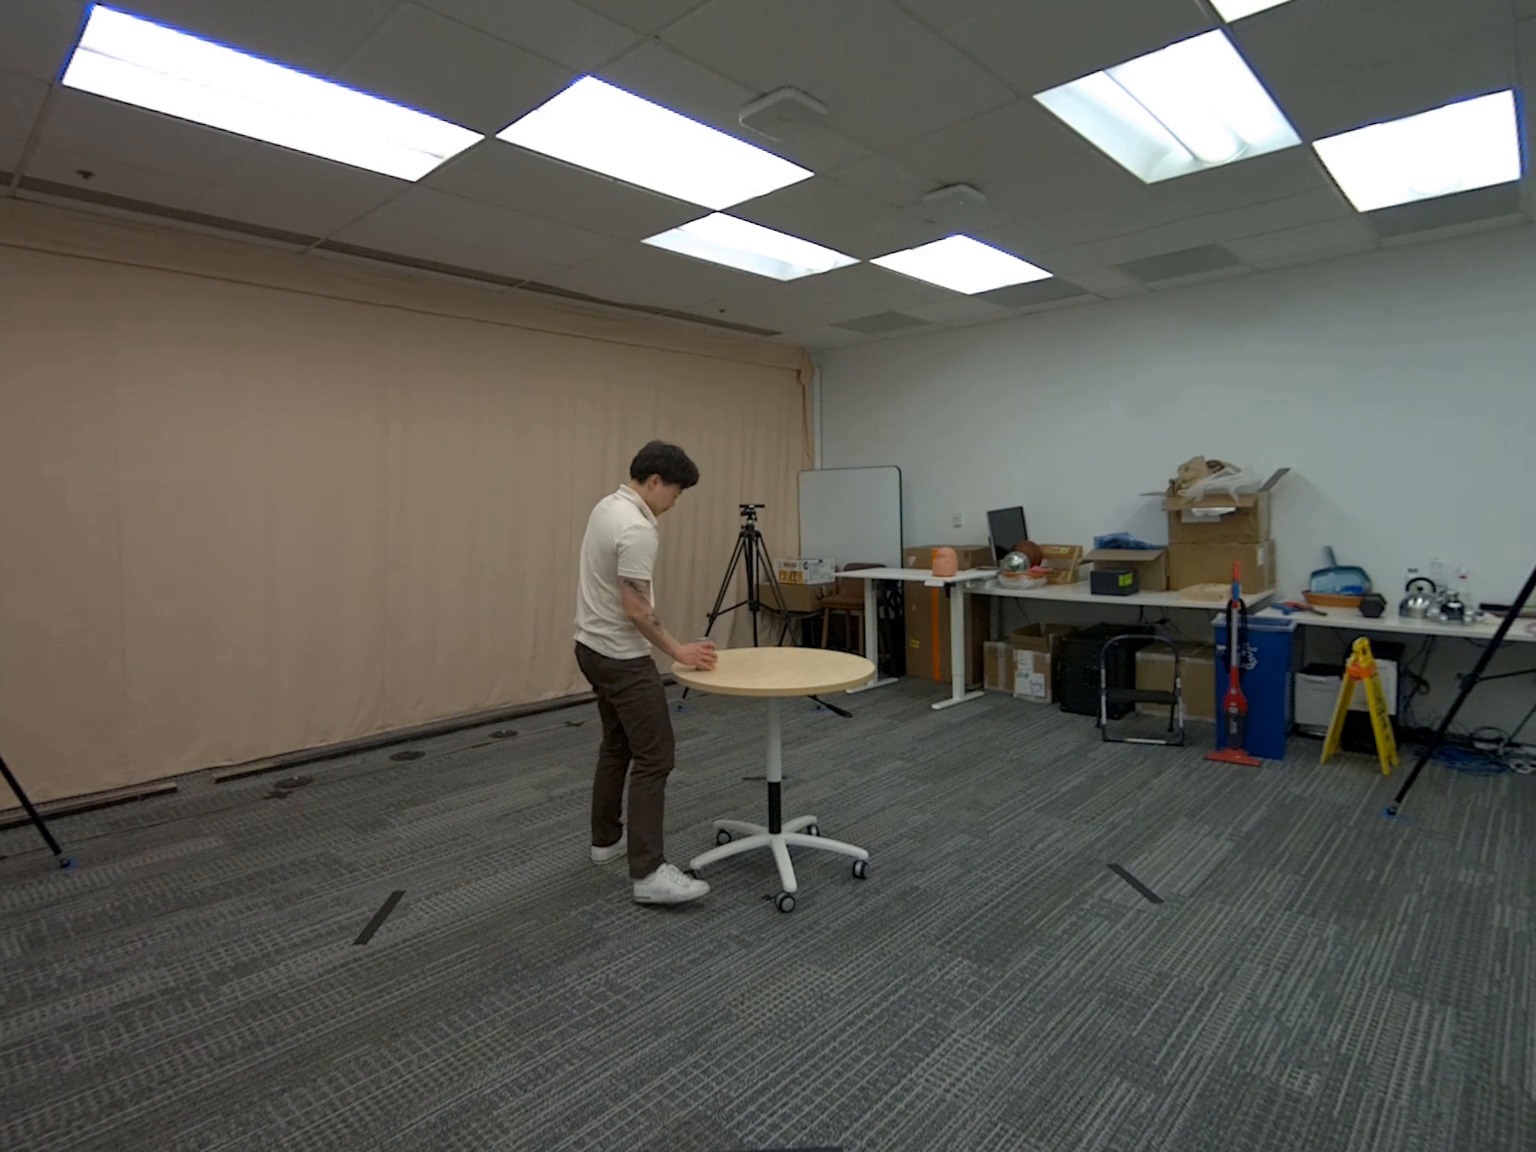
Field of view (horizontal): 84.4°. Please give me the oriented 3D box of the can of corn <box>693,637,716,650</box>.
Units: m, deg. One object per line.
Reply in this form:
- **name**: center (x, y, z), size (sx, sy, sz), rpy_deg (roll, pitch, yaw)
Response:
- **can of corn**: center (-0.234, 0.292, 3.131), size (0.074, 0.111, 0.074), rpy_deg (-2, 2, -2)
